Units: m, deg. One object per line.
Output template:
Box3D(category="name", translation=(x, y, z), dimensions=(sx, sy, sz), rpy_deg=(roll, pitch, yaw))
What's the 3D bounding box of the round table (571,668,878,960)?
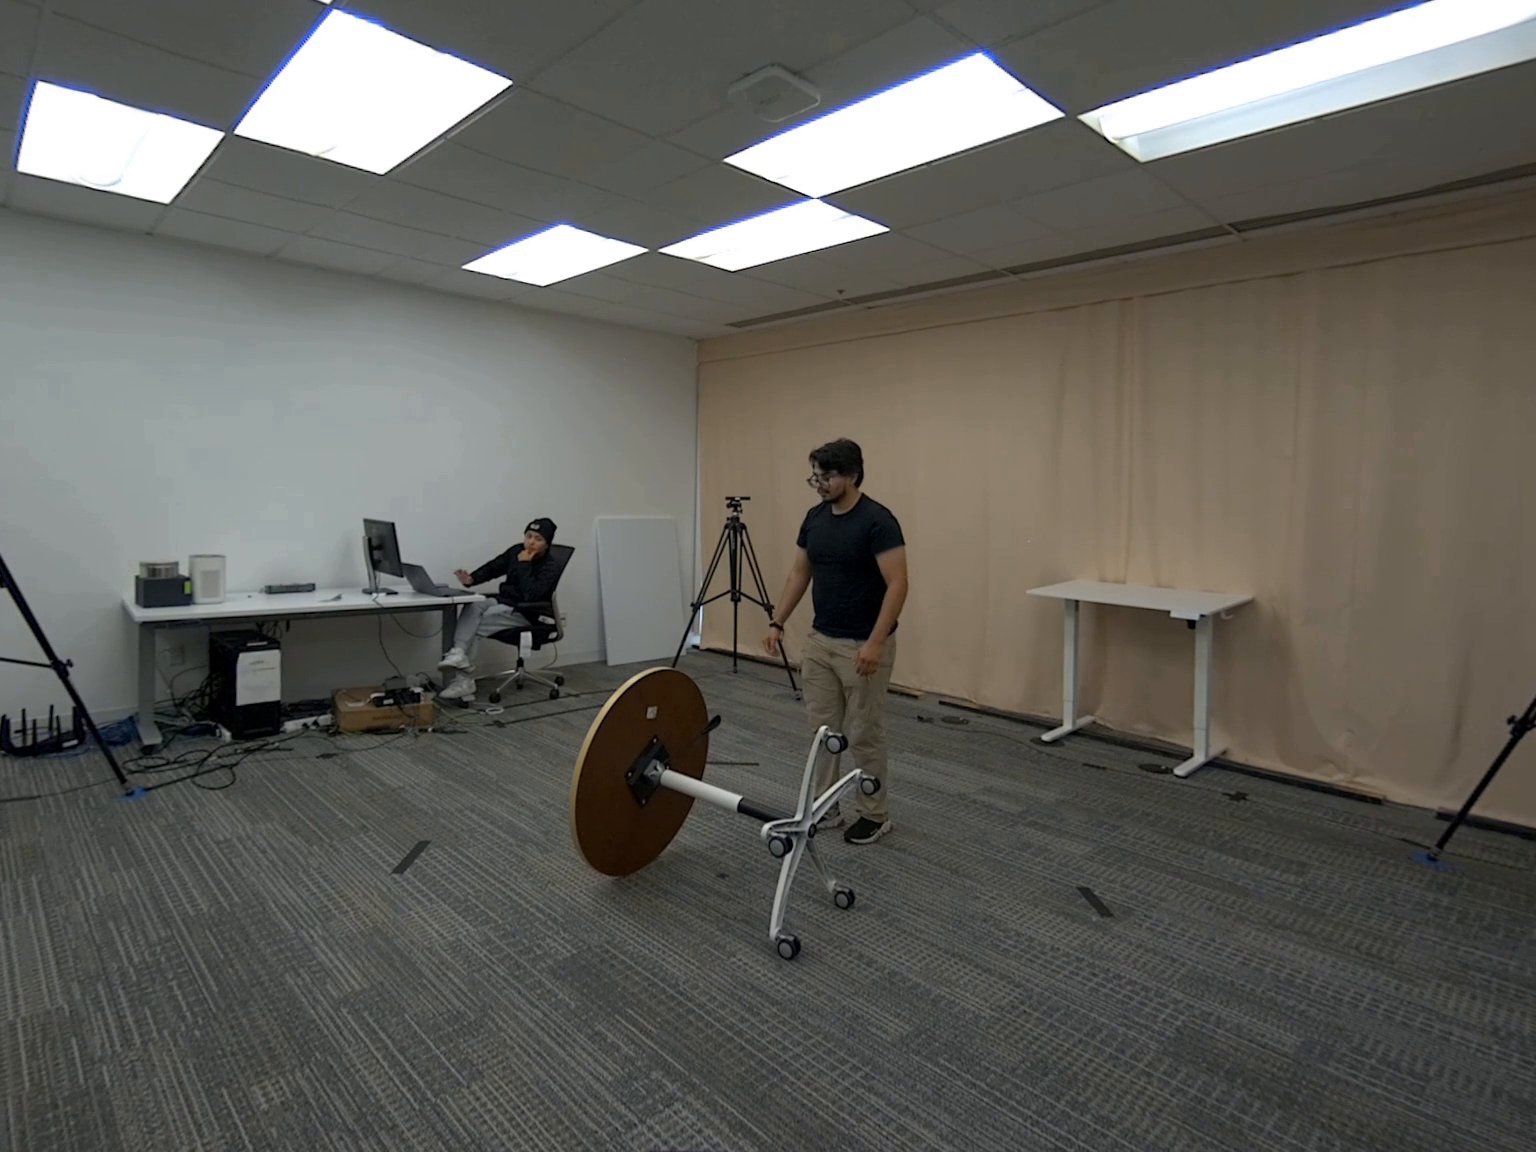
Box3D(category="round table", translation=(-0.132, 0.768, 2.895), dimensions=(0.806, 0.782, 0.769), rpy_deg=(9, 8, 32))
